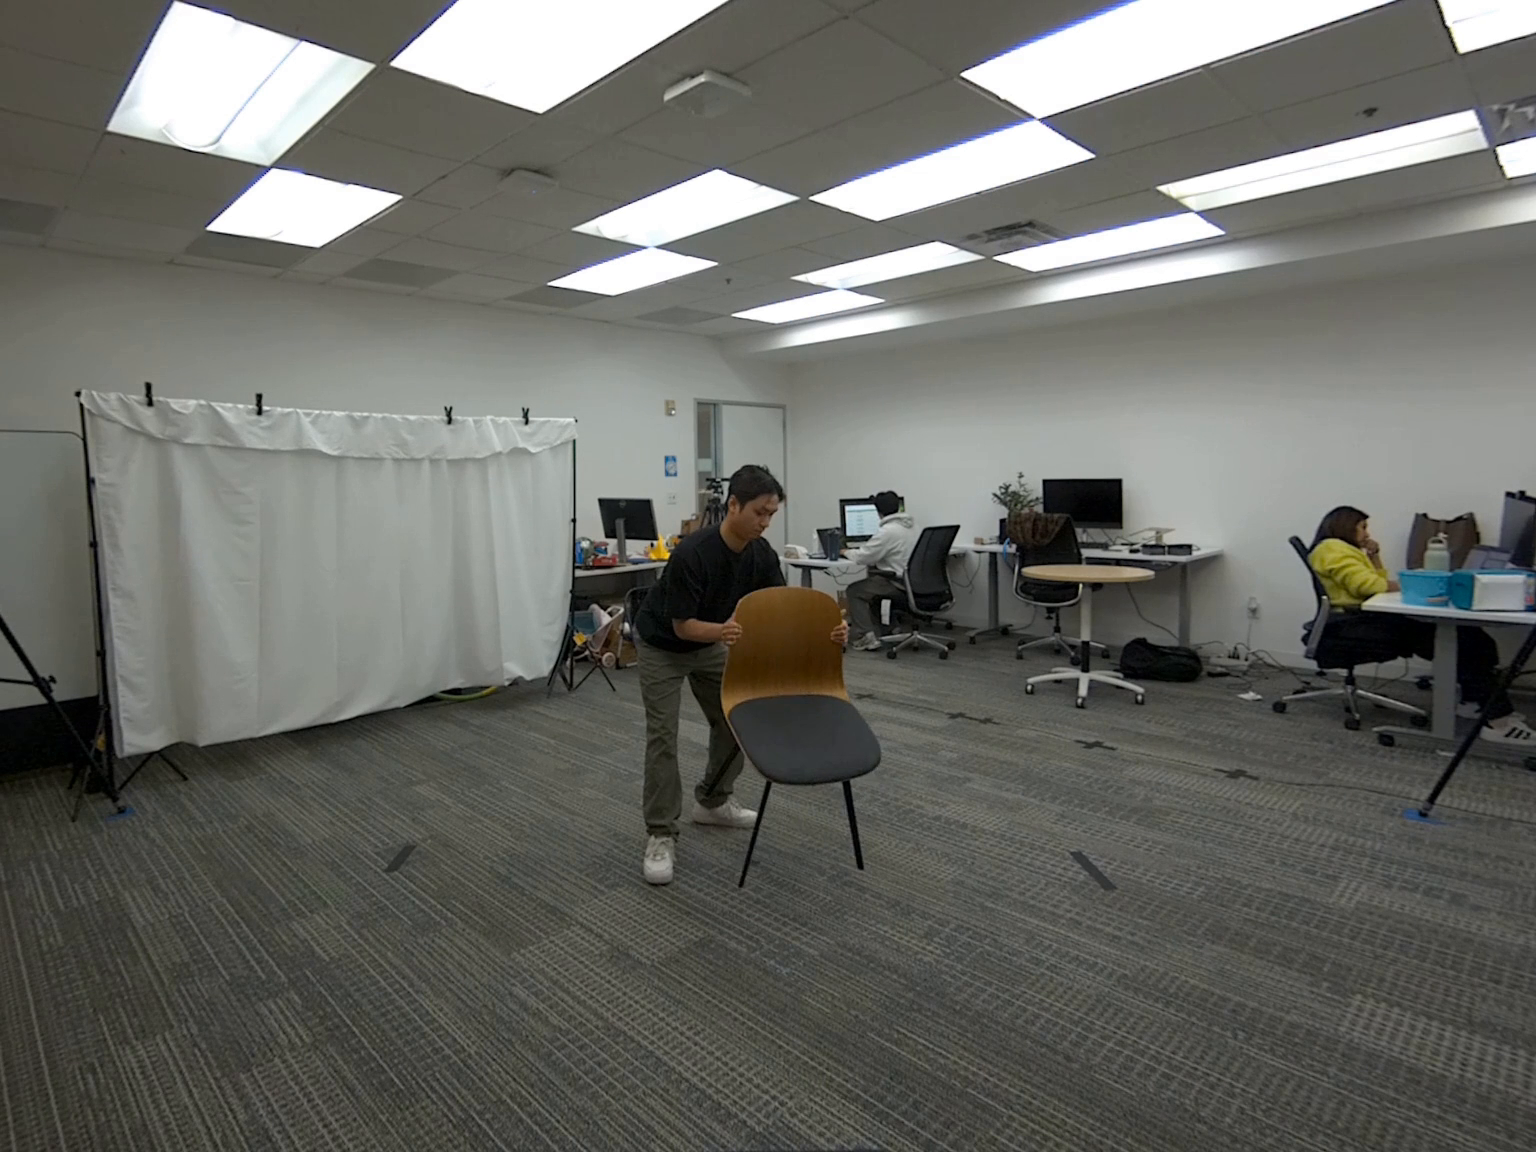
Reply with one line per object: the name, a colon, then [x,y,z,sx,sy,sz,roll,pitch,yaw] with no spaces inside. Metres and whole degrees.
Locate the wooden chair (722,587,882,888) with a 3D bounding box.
wooden chair: [0.103,0.541,2.898,0.470,0.865,0.540,0,20,-19]
